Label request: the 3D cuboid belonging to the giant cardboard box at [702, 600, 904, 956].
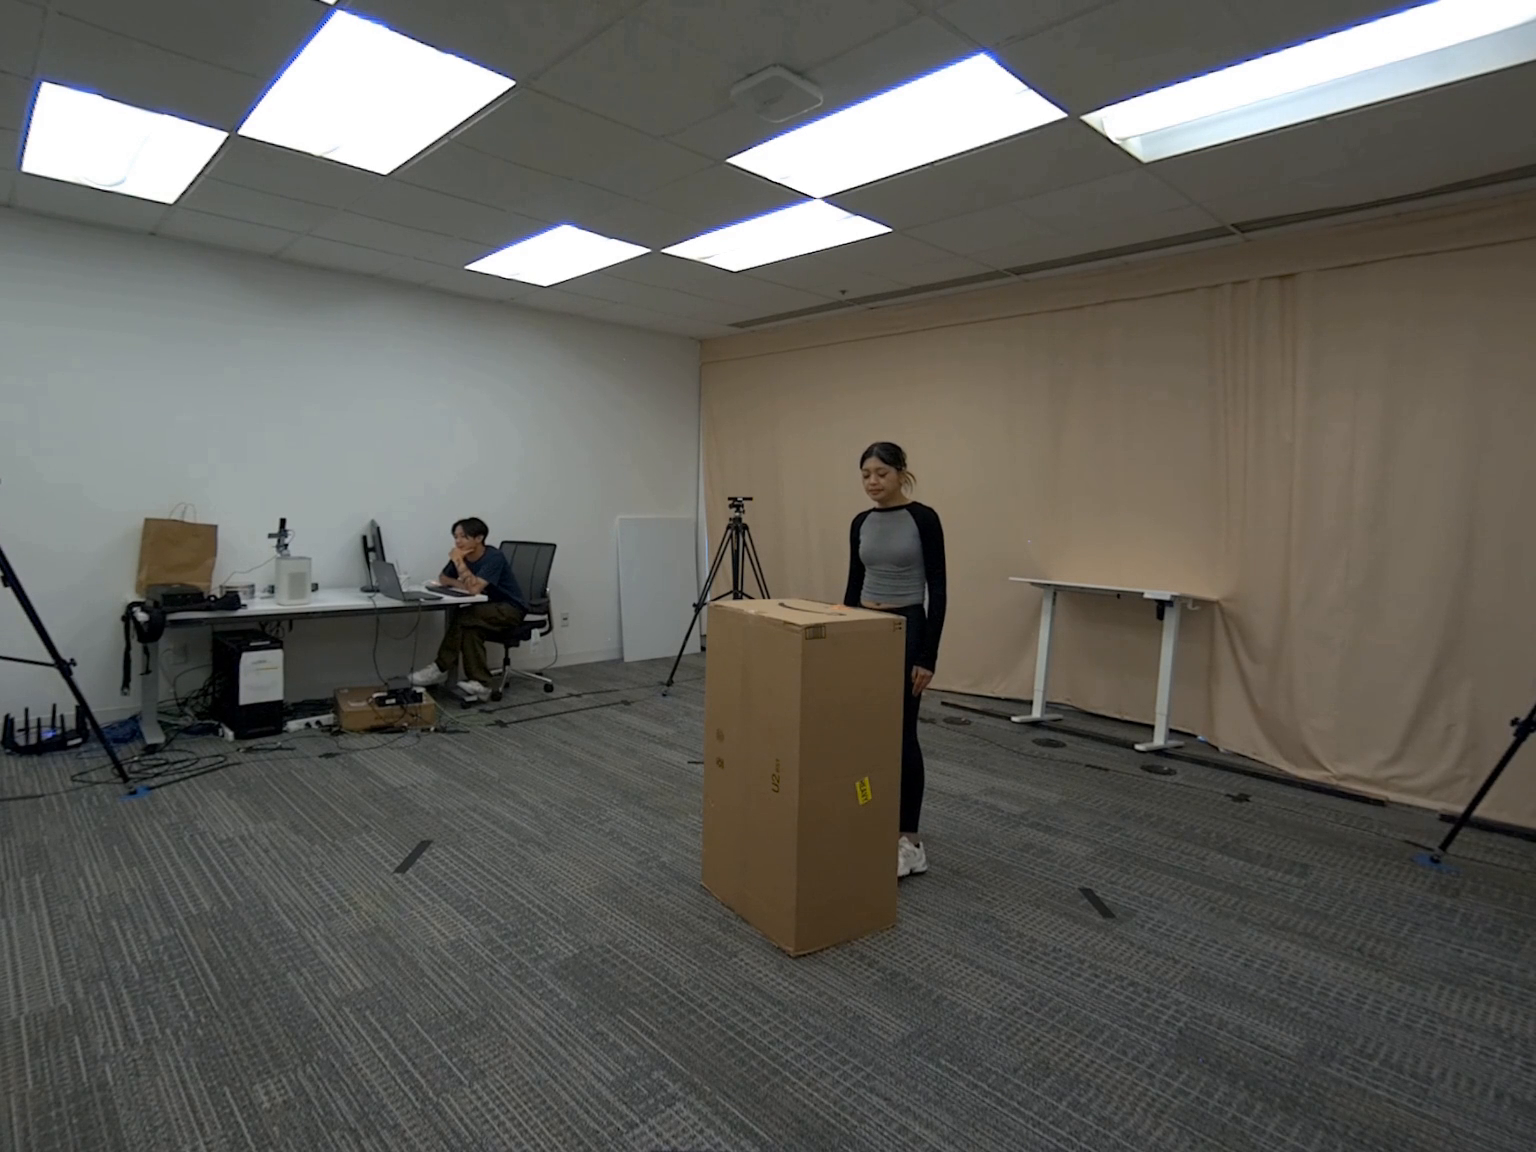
[{"bbox_3d":[0.101,0.626,2.879,0.437,1.024,0.598,-1,4,-34],"label":"giant cardboard box"}]
